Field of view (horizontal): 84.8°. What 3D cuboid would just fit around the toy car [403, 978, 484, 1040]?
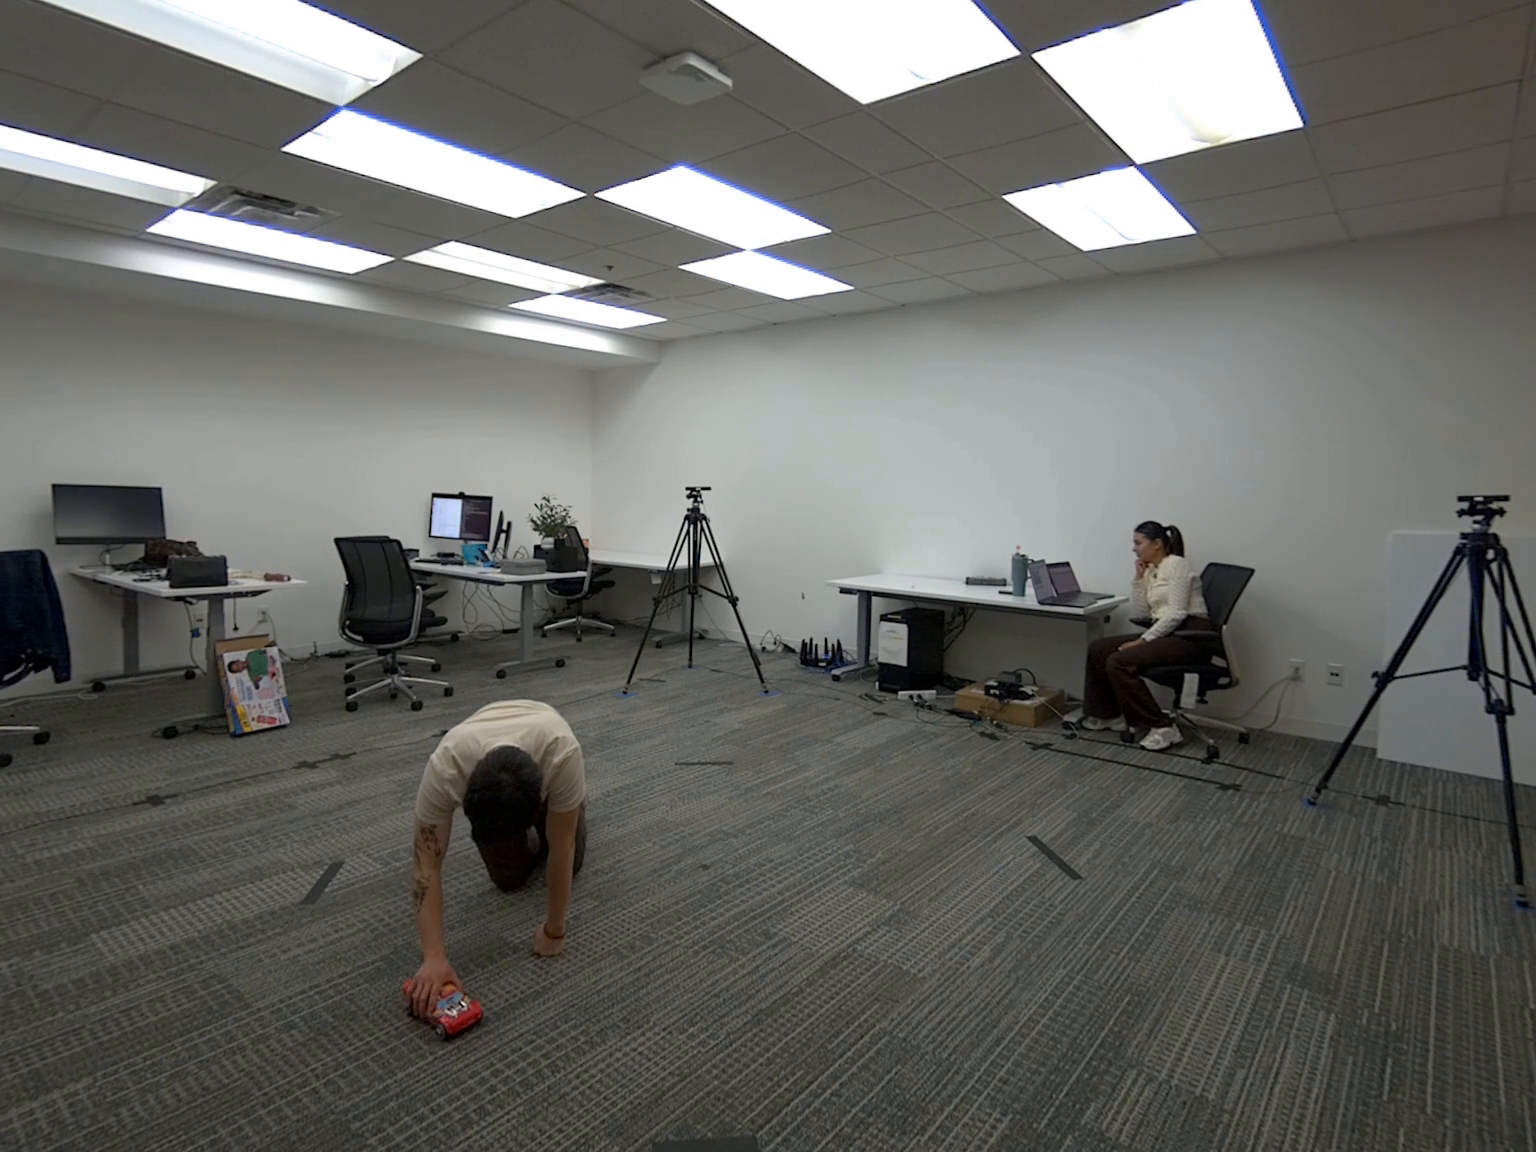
[{"bbox_3d":[-0.874,1.118,2.231,0.264,0.082,0.126,16,14,39],"label":"toy car"}]
